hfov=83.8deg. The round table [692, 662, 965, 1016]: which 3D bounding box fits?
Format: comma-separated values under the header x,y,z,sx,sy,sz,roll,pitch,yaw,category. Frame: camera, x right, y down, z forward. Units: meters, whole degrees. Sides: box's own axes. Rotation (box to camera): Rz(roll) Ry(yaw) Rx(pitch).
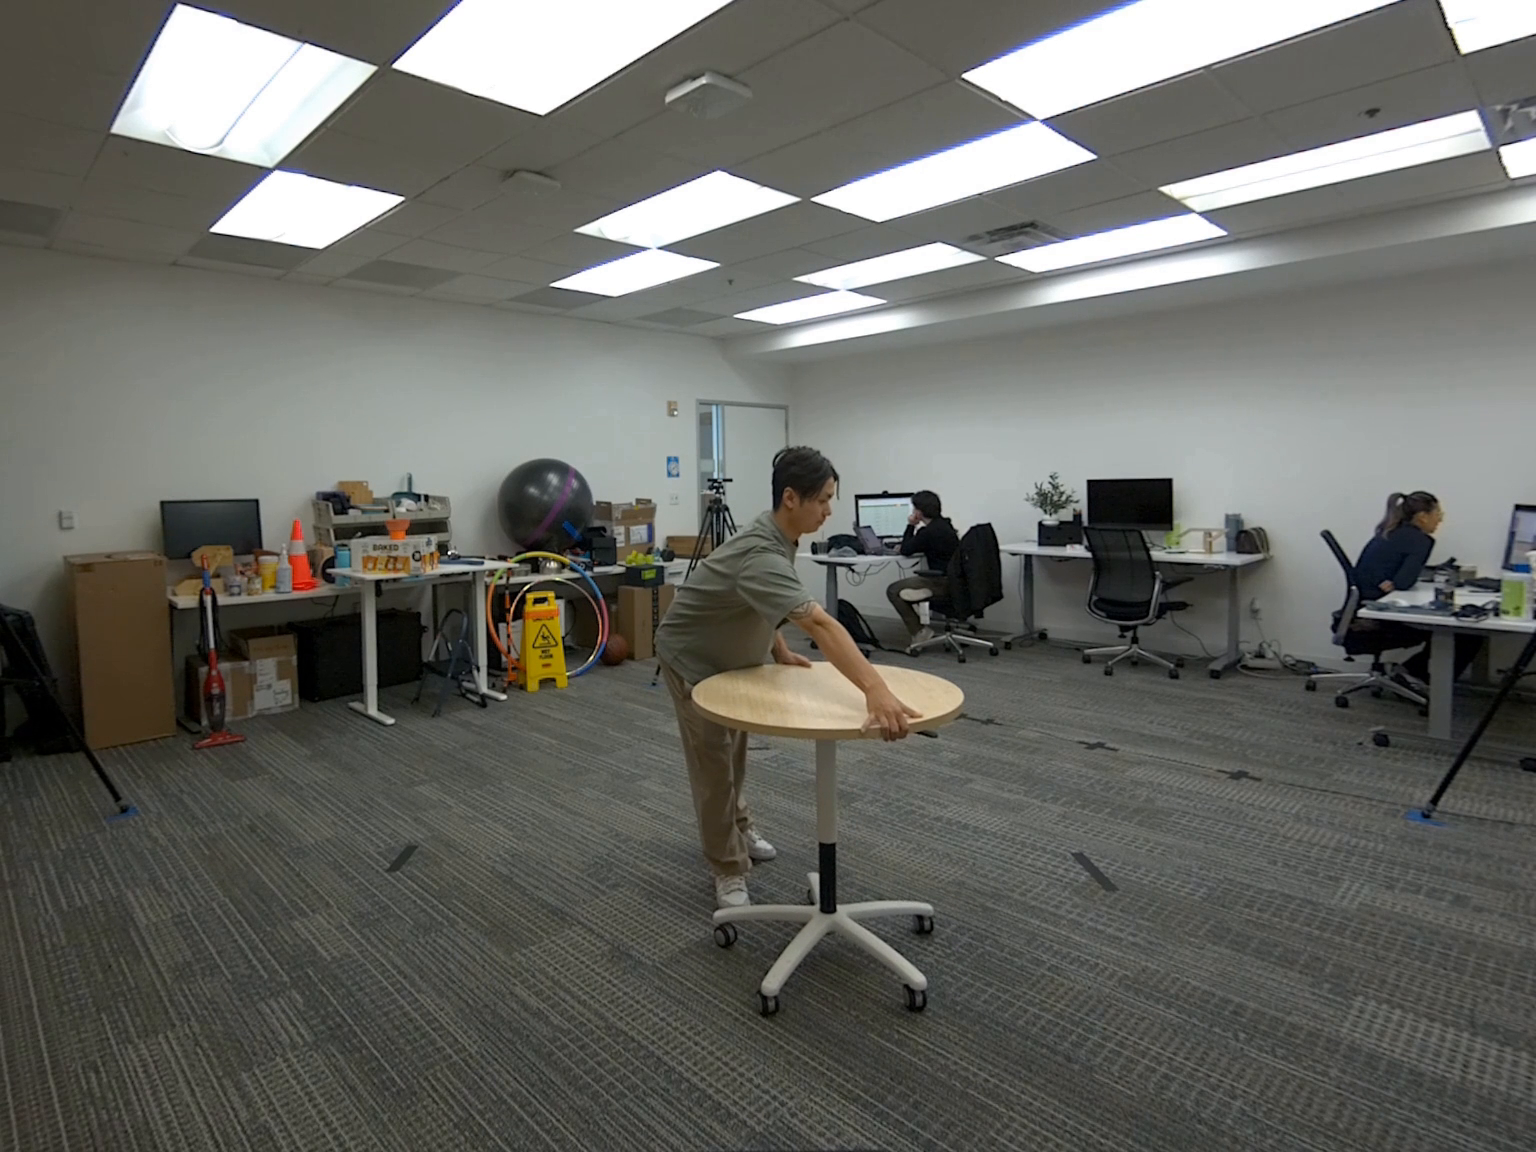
x,y,z,sx,sy,sz,roll,pitch,yaw,category
0.169,0.720,2.456,0.784,0.783,0.789,-1,5,-2,round table
